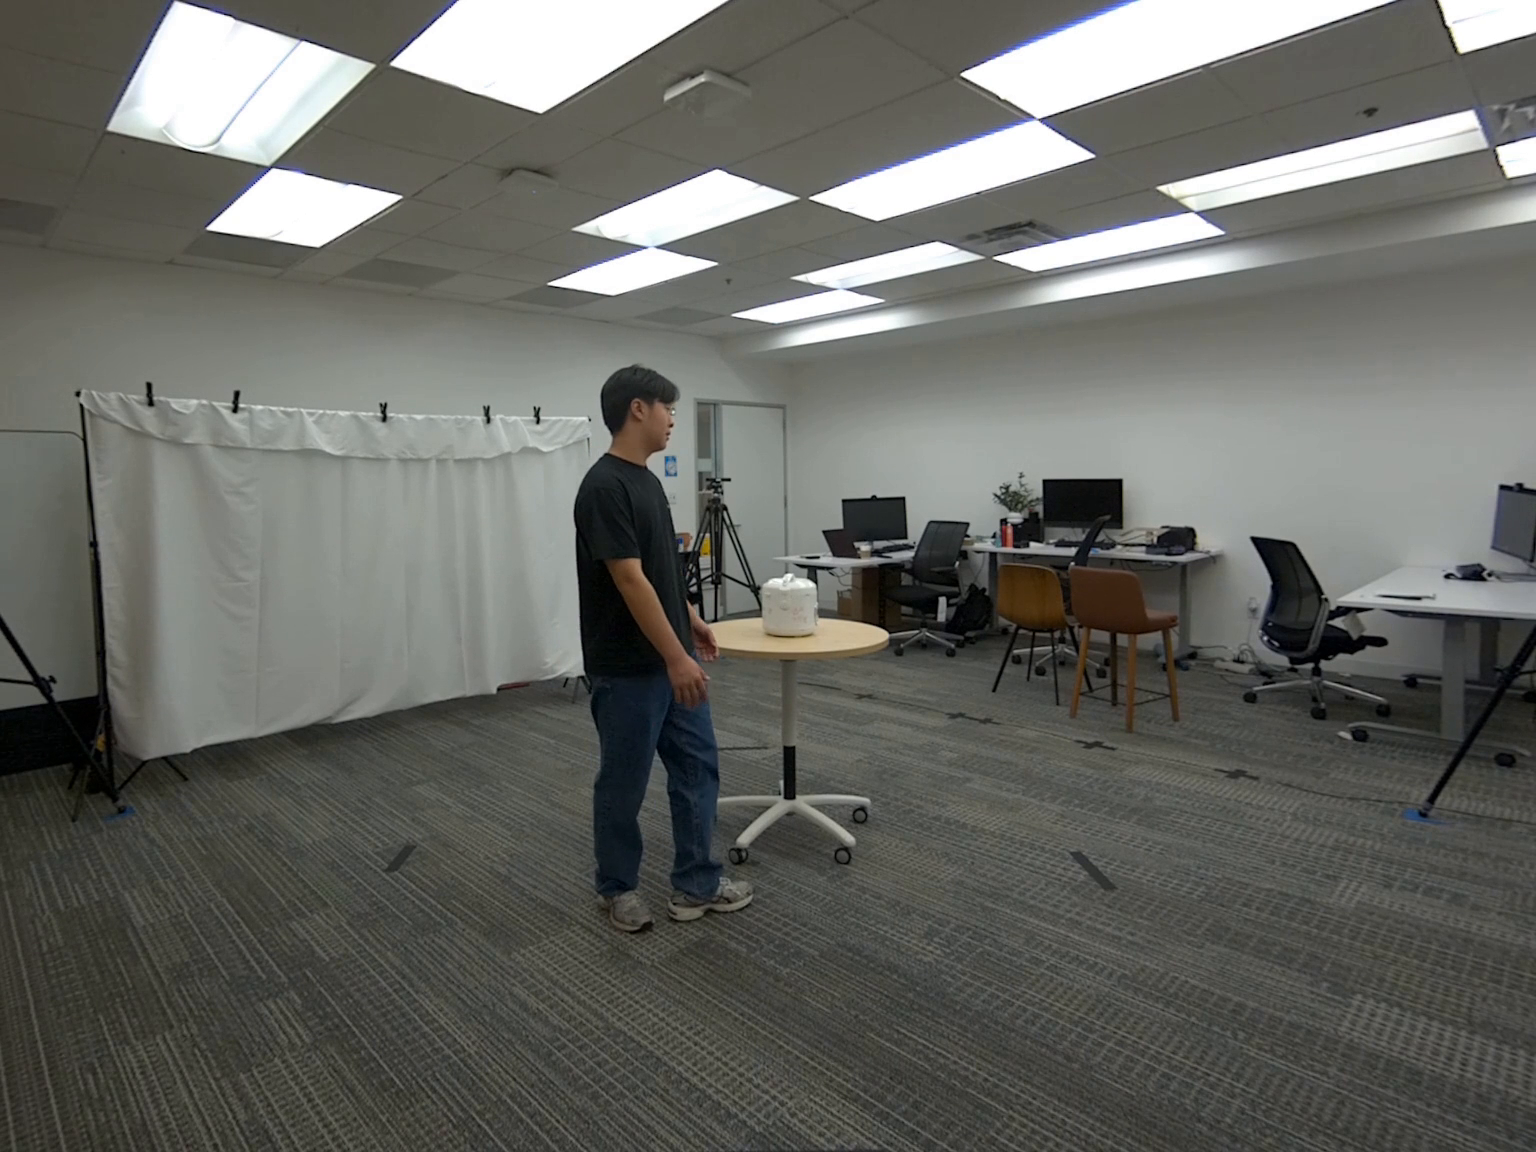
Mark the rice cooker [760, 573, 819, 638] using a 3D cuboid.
[{"bbox_3d":[0.089,0.107,3.294,0.220,0.232,0.218,0,4,14],"label":"rice cooker"}]
